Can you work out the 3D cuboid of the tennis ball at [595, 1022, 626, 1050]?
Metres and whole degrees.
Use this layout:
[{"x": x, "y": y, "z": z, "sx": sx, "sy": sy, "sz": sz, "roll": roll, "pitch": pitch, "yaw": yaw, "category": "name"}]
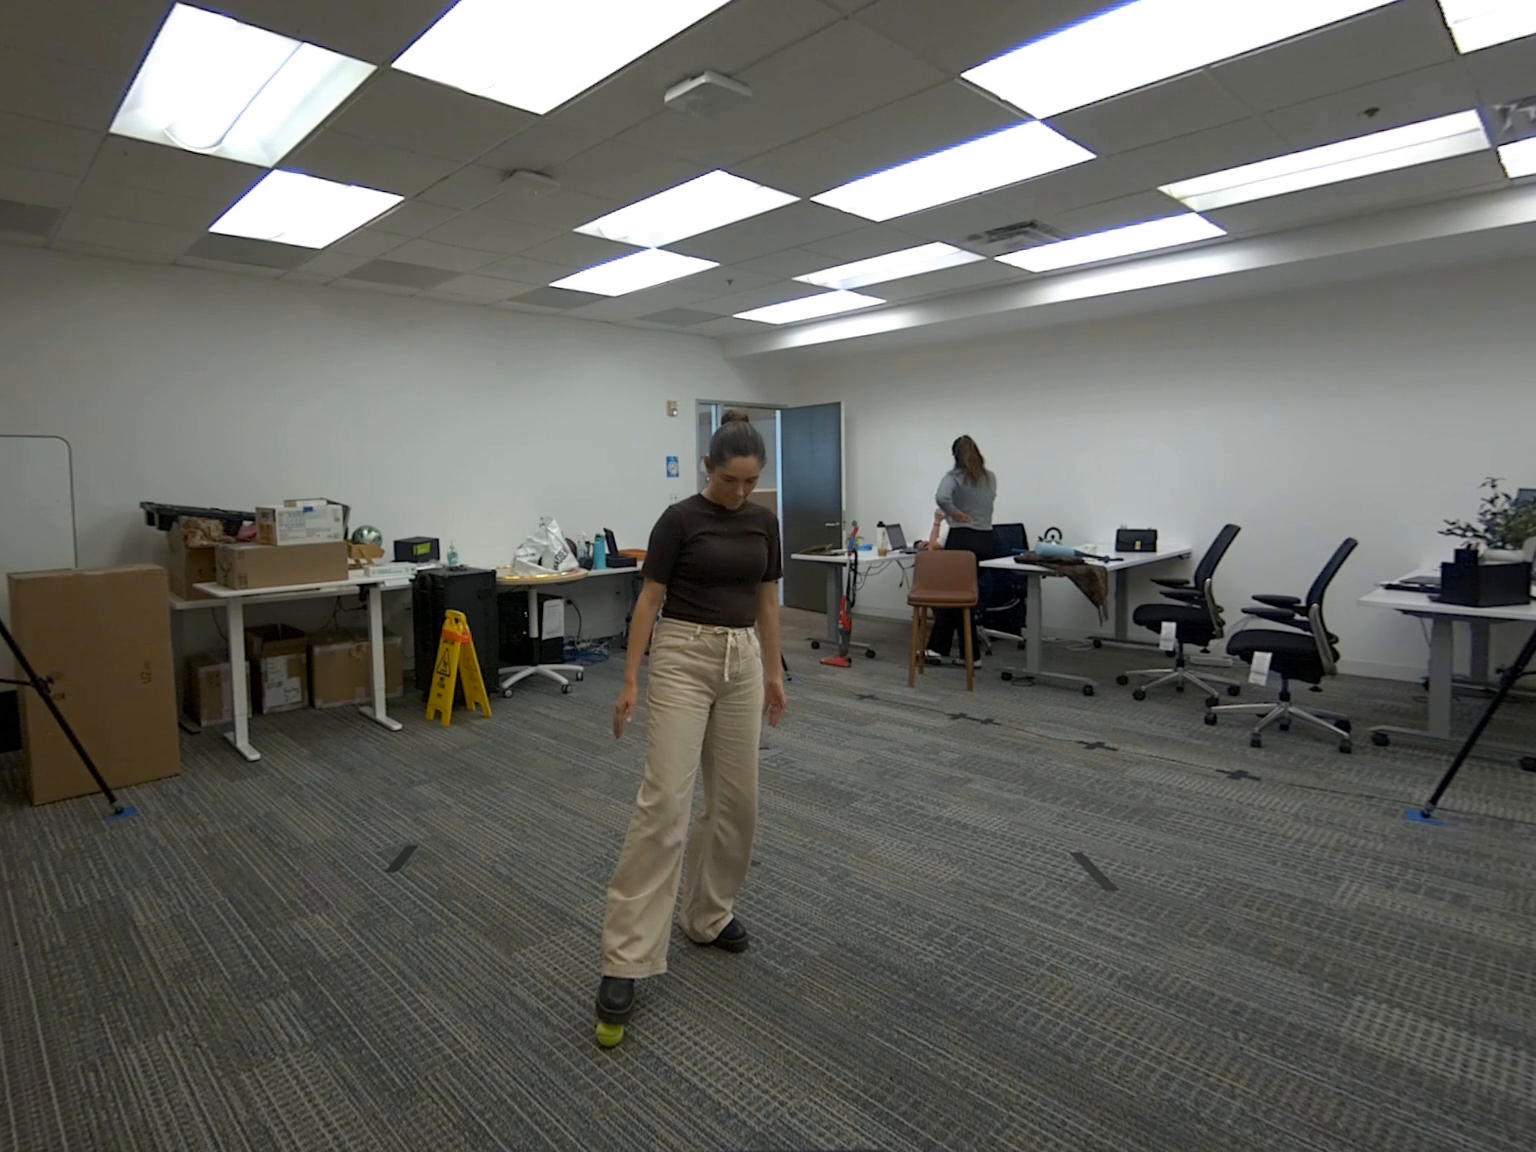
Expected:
[{"x": -0.393, "y": 1.135, "z": 2.136, "sx": 0.066, "sy": 0.066, "sz": 0.067, "roll": -1, "pitch": 5, "yaw": -2, "category": "tennis ball"}]
